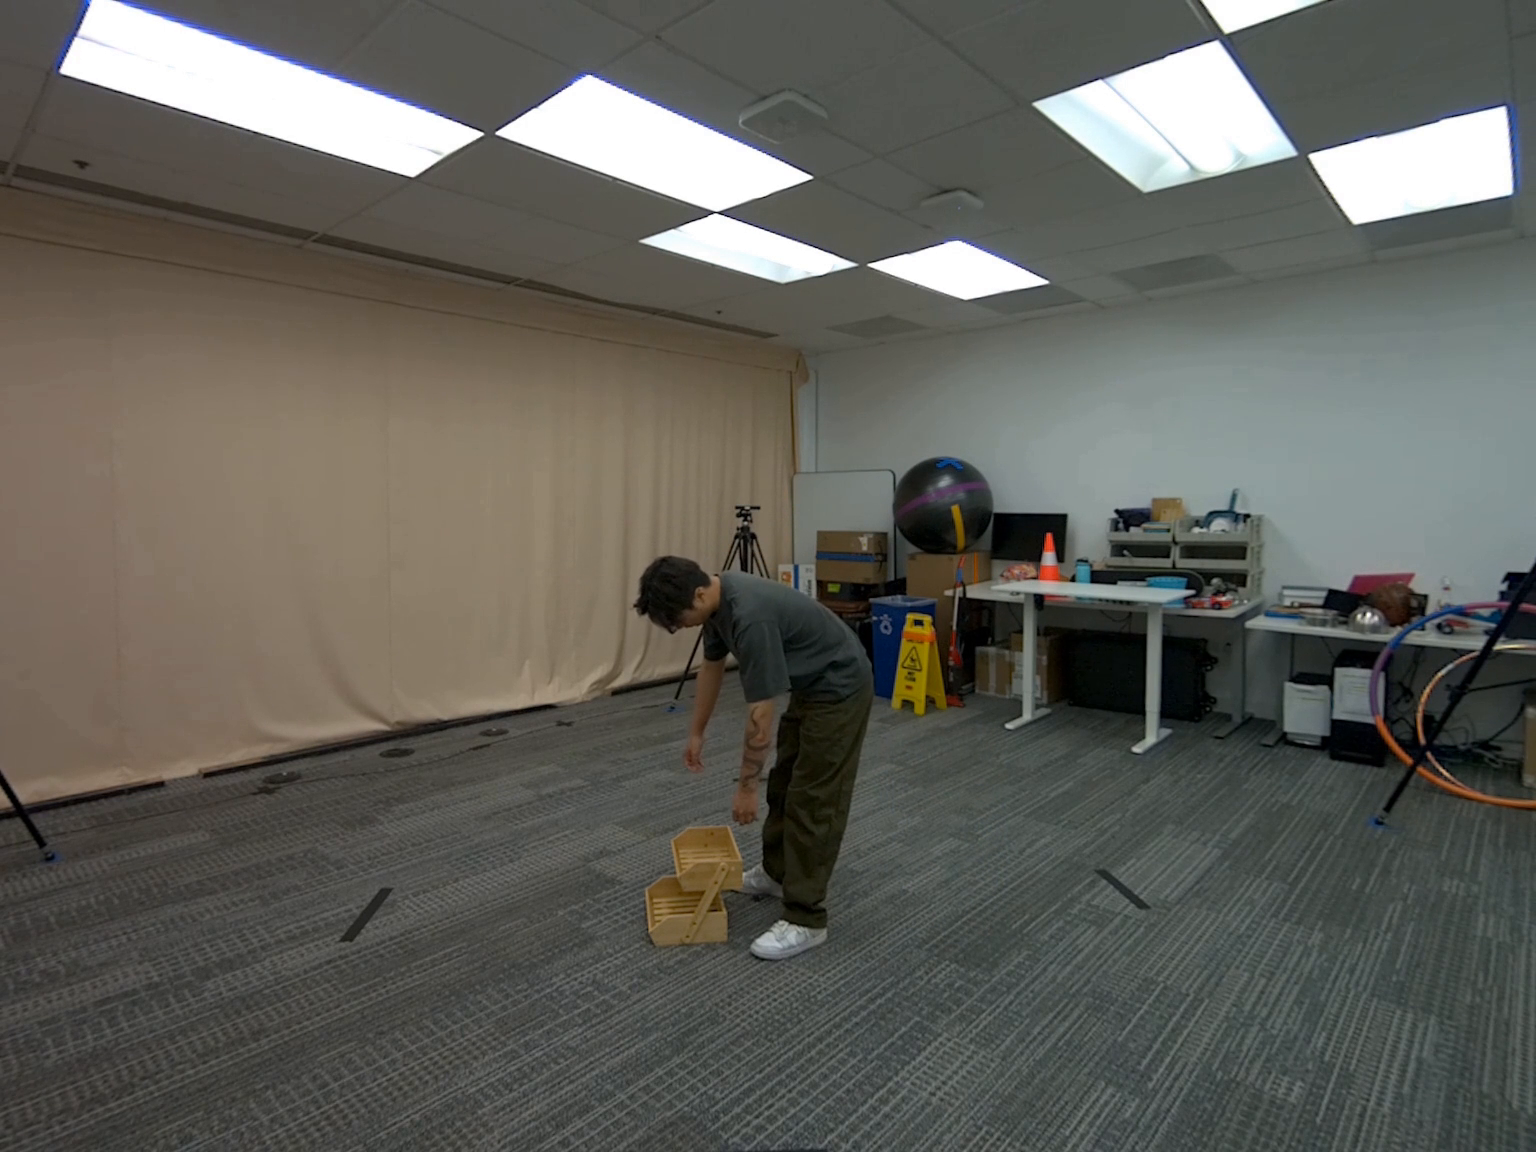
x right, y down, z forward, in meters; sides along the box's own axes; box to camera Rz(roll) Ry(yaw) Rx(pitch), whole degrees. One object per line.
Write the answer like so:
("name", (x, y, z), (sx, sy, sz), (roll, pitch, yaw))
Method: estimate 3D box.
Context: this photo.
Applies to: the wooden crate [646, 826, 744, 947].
("wooden crate", (-0.264, 1.032, 2.825), (0.299, 0.273, 0.328), (-1, 4, -10))
